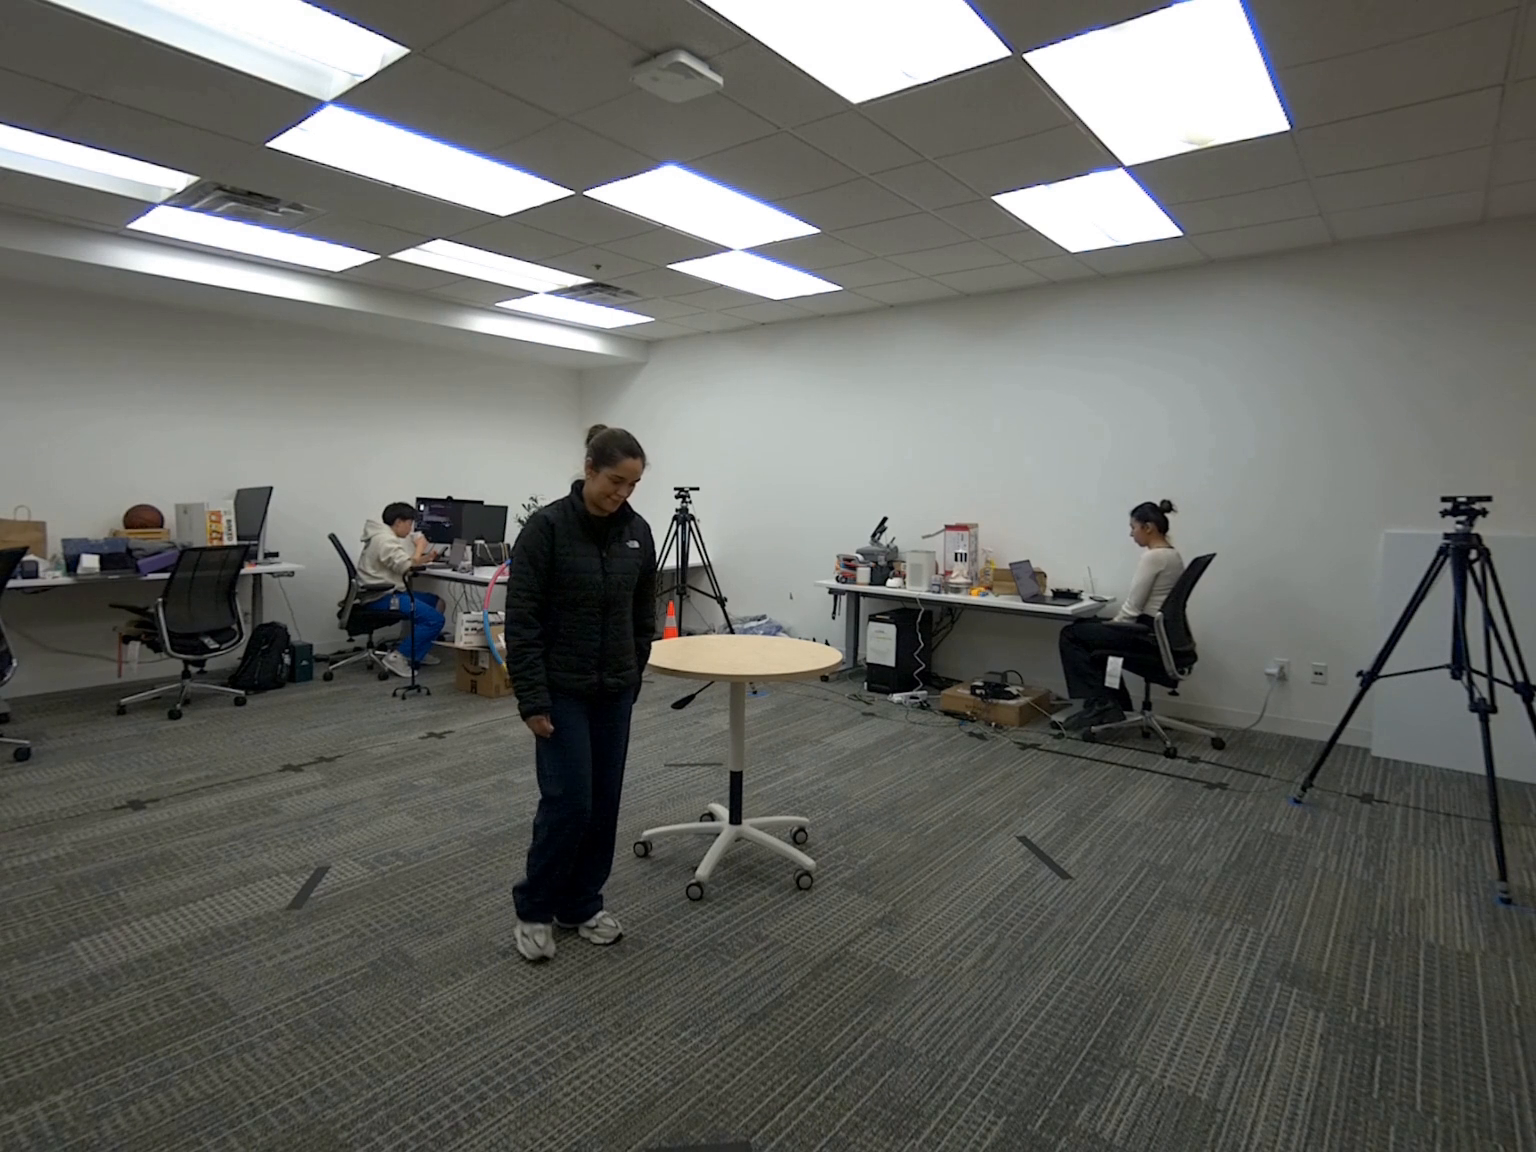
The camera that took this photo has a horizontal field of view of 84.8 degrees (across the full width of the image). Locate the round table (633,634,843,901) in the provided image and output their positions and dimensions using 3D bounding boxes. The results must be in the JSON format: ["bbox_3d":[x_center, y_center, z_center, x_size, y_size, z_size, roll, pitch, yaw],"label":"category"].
[{"bbox_3d":[-0.099,0.668,3.167,0.784,0.784,0.789,0,4,-2],"label":"round table"}]
